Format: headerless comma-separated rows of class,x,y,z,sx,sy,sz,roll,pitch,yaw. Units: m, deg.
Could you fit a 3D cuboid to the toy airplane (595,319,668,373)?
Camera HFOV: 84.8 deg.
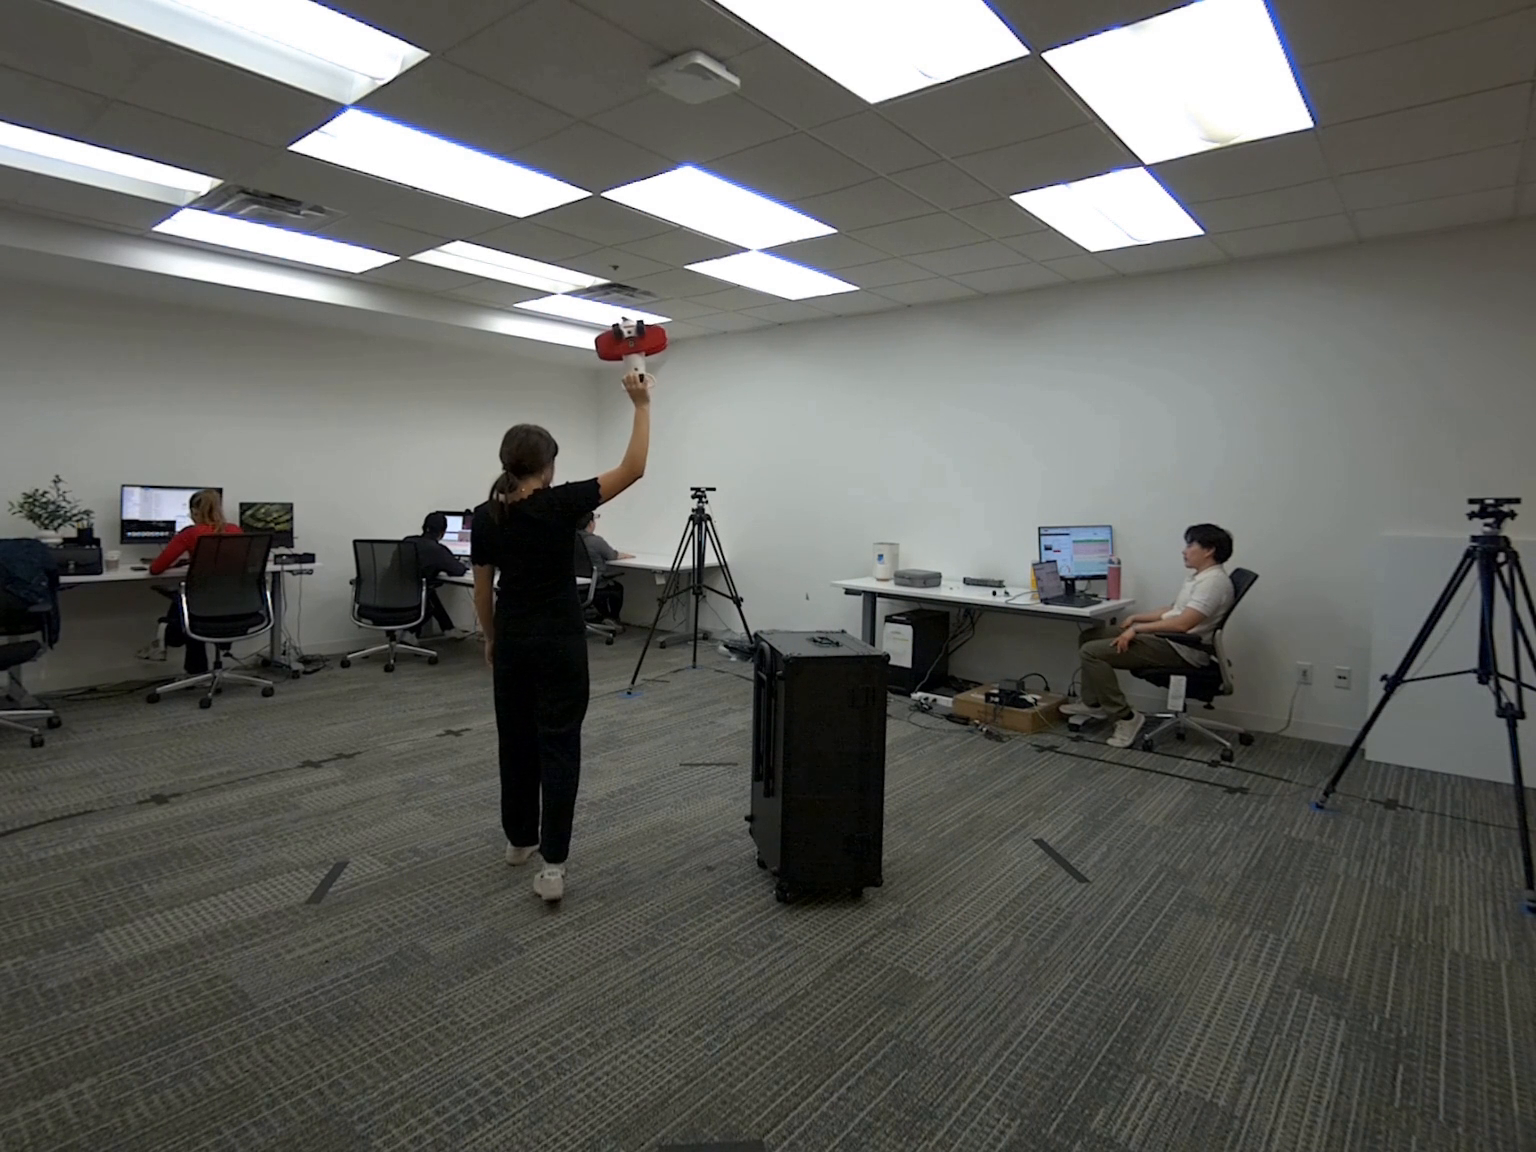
toy airplane,-0.509,-0.791,3.031,0.248,0.258,0.159,18,9,-9
